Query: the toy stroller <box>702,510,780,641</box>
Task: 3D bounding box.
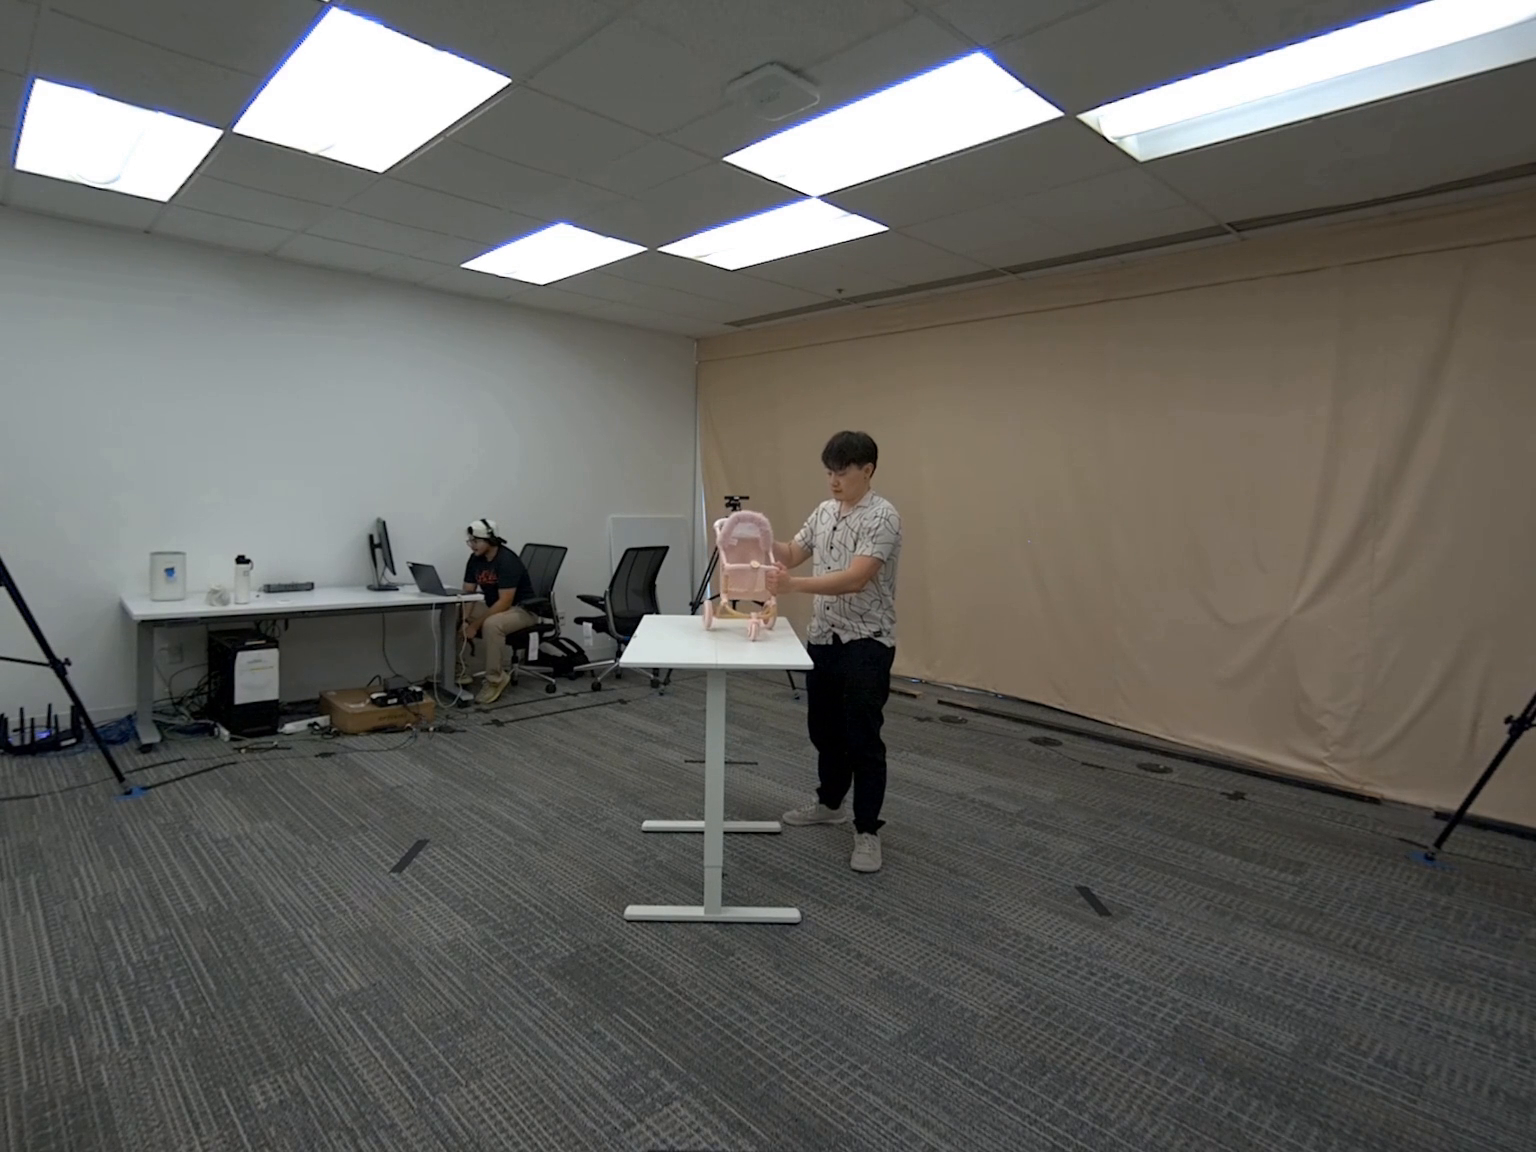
[{"bbox_3d":[-0.096,-0.006,3.179,0.279,0.540,0.340,3,-13,-9],"label":"toy stroller"}]
